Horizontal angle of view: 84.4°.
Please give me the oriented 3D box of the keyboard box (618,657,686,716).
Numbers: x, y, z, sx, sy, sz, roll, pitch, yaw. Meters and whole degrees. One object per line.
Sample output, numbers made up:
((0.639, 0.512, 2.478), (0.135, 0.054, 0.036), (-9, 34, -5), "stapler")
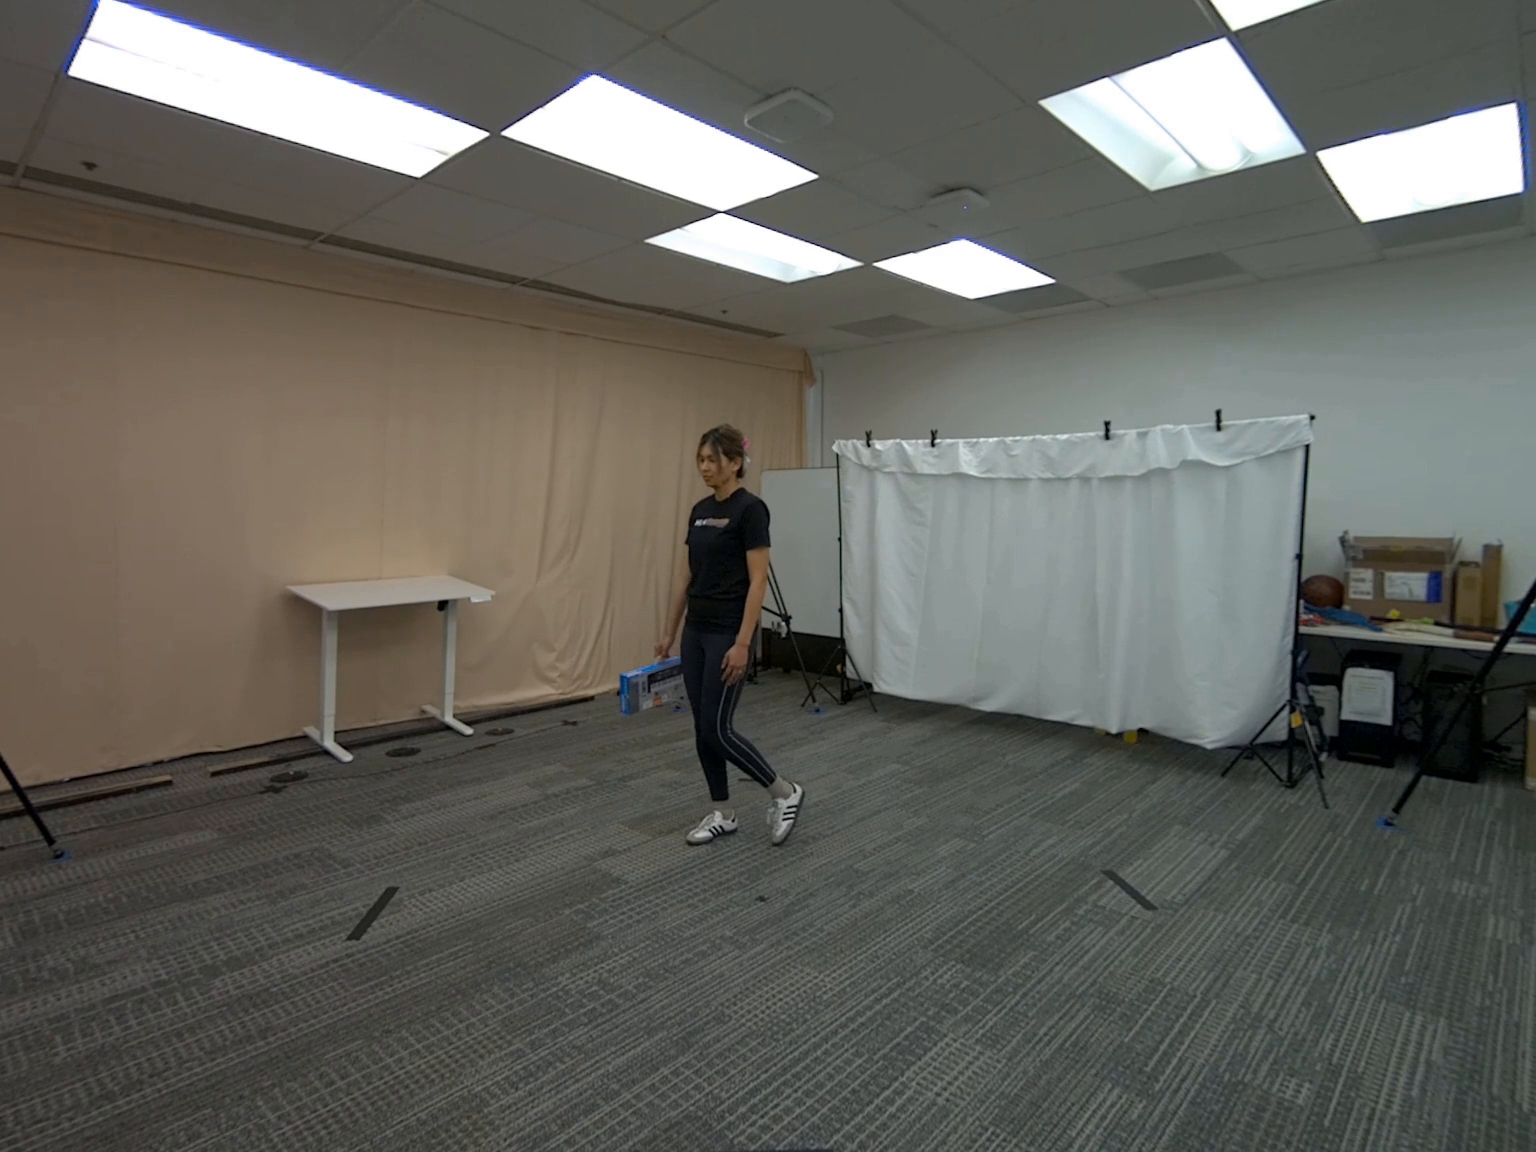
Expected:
((-0.455, 0.467, 3.692), (0.061, 0.174, 0.425), (10, 16, 43), "keyboard box")
